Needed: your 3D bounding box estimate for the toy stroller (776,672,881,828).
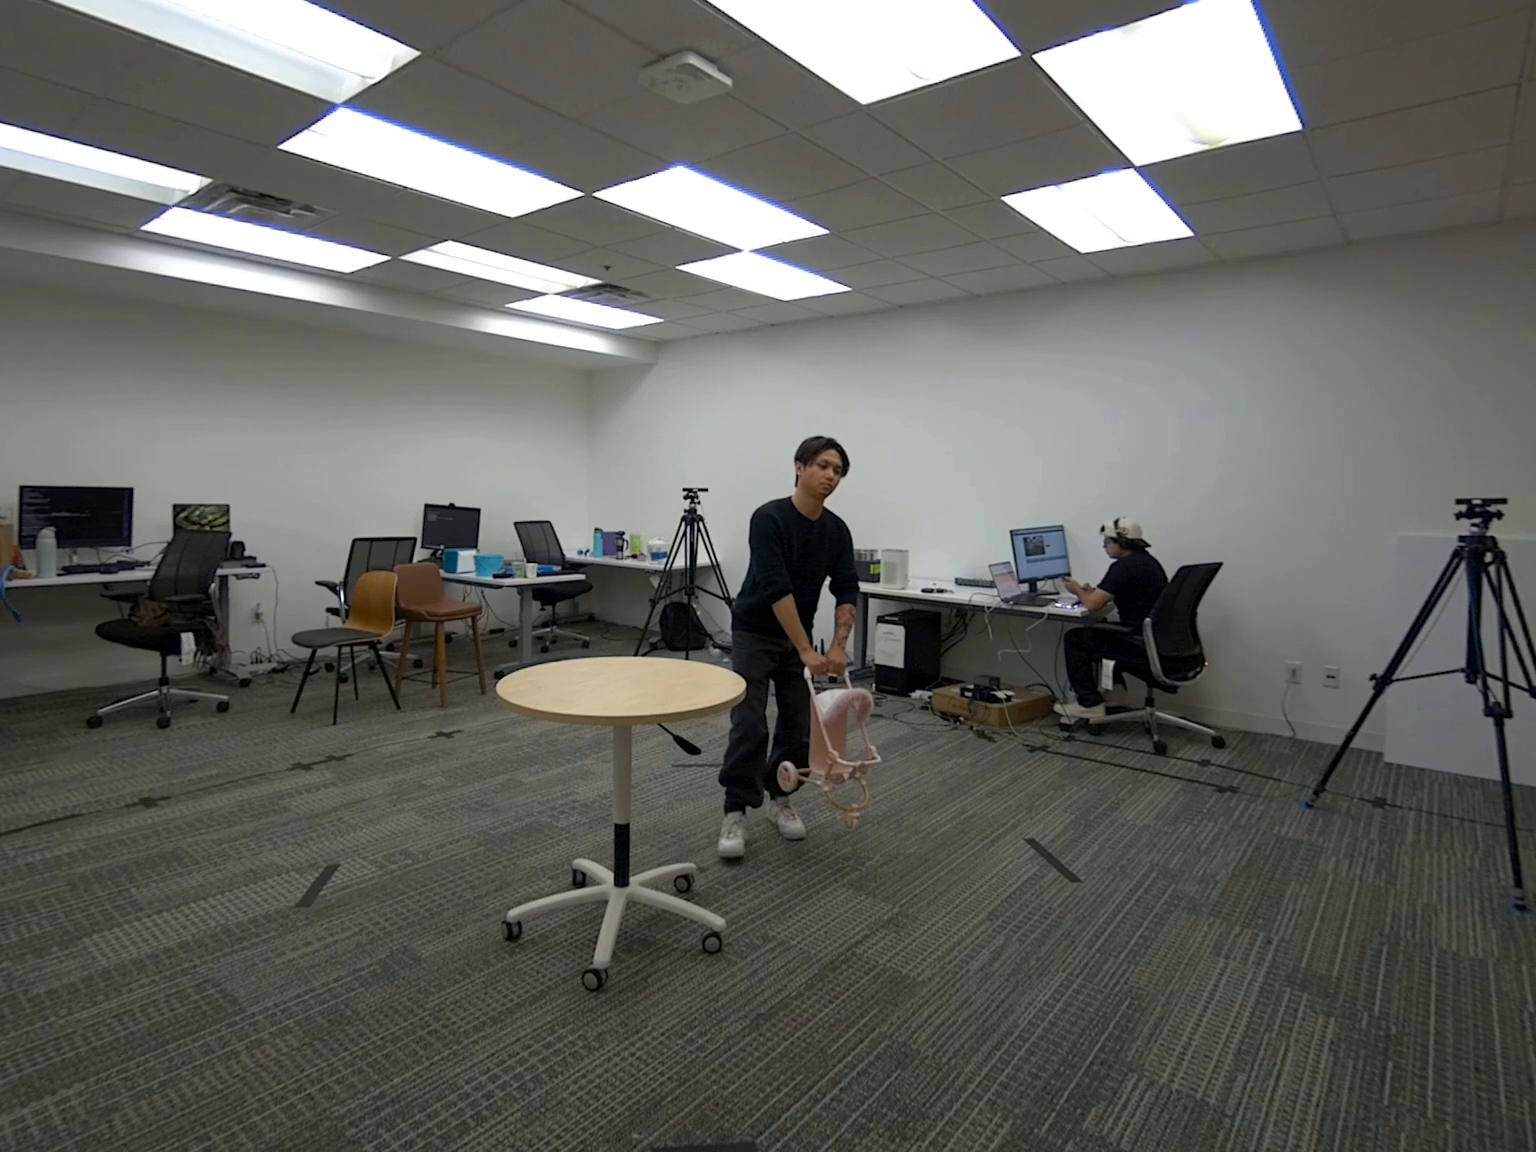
[{"bbox_3d":[0.245,0.619,3.121,0.273,0.533,0.354,6,7,-34],"label":"toy stroller"}]
